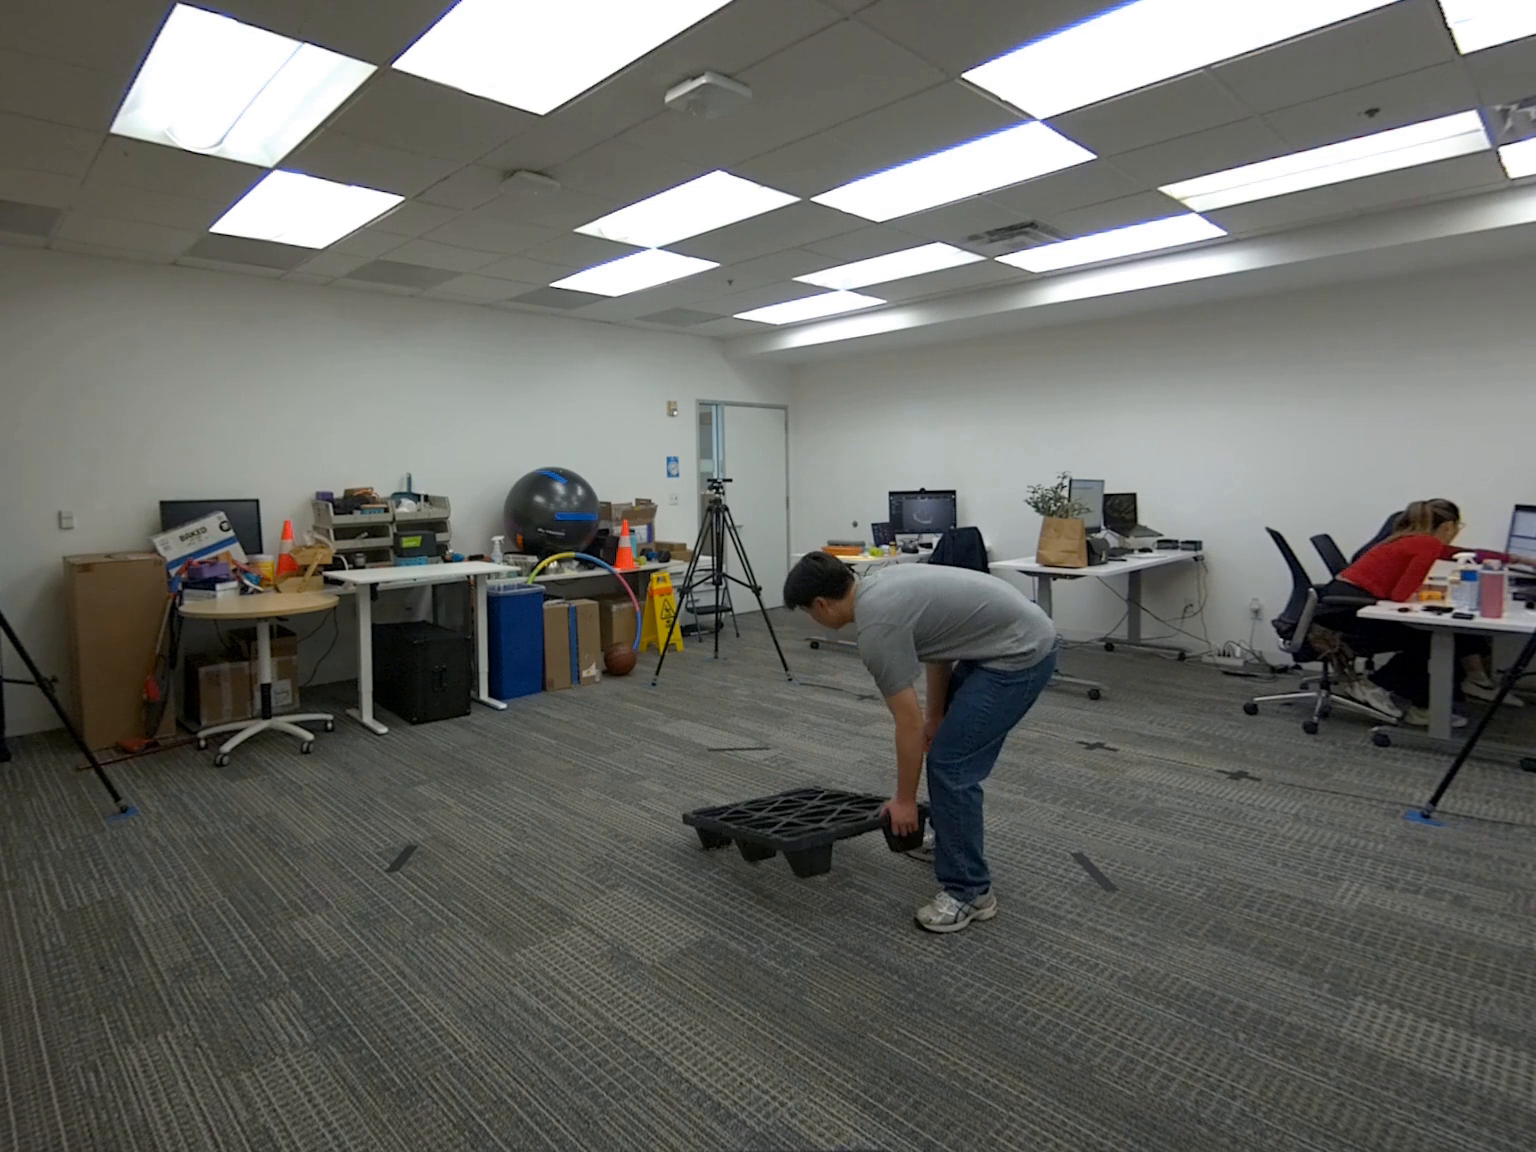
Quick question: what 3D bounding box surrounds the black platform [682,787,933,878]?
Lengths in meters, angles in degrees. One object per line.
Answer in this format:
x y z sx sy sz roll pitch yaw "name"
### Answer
0.129 0.901 3.046 0.592 0.144 0.818 -5 -6 -29 "black platform"
